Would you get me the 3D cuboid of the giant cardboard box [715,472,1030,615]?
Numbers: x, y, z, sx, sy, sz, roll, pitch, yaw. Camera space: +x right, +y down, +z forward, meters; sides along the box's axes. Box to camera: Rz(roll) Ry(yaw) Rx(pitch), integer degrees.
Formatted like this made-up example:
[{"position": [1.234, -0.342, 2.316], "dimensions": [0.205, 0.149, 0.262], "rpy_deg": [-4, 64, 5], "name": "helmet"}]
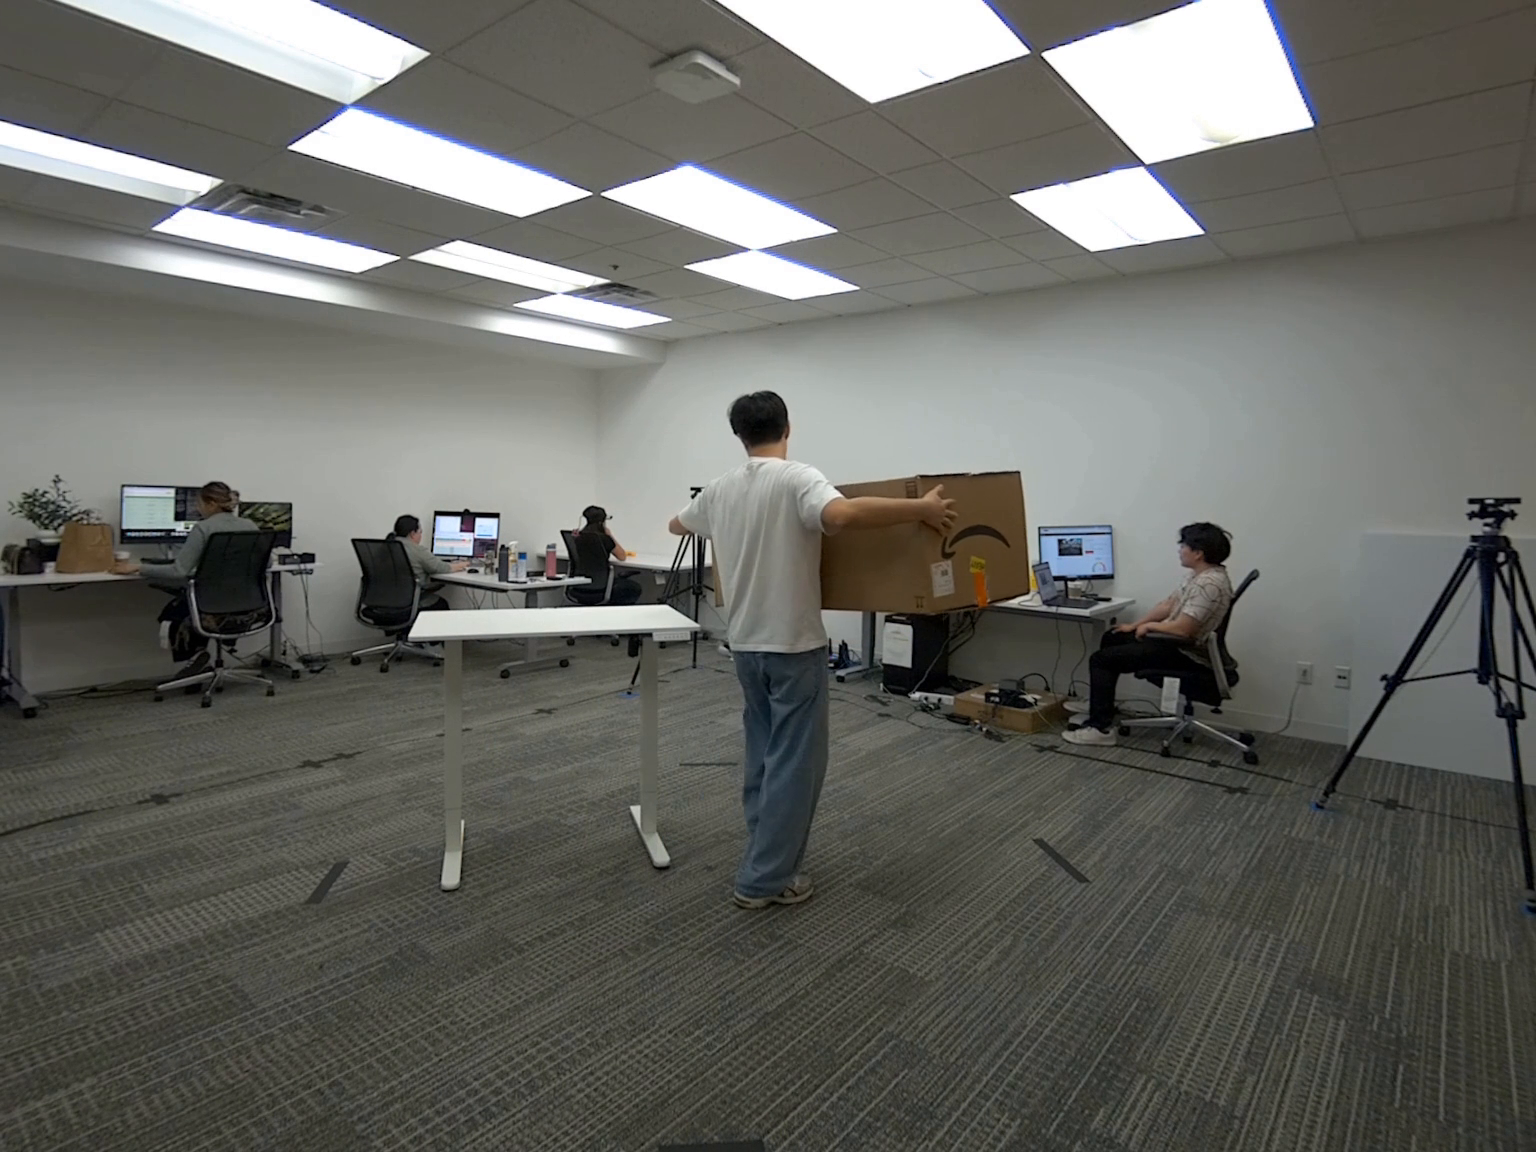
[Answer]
[{"position": [0.324, -0.118, 3.139], "dimensions": [0.561, 0.425, 1.057], "rpy_deg": [-8, 5, -41], "name": "giant cardboard box"}]
